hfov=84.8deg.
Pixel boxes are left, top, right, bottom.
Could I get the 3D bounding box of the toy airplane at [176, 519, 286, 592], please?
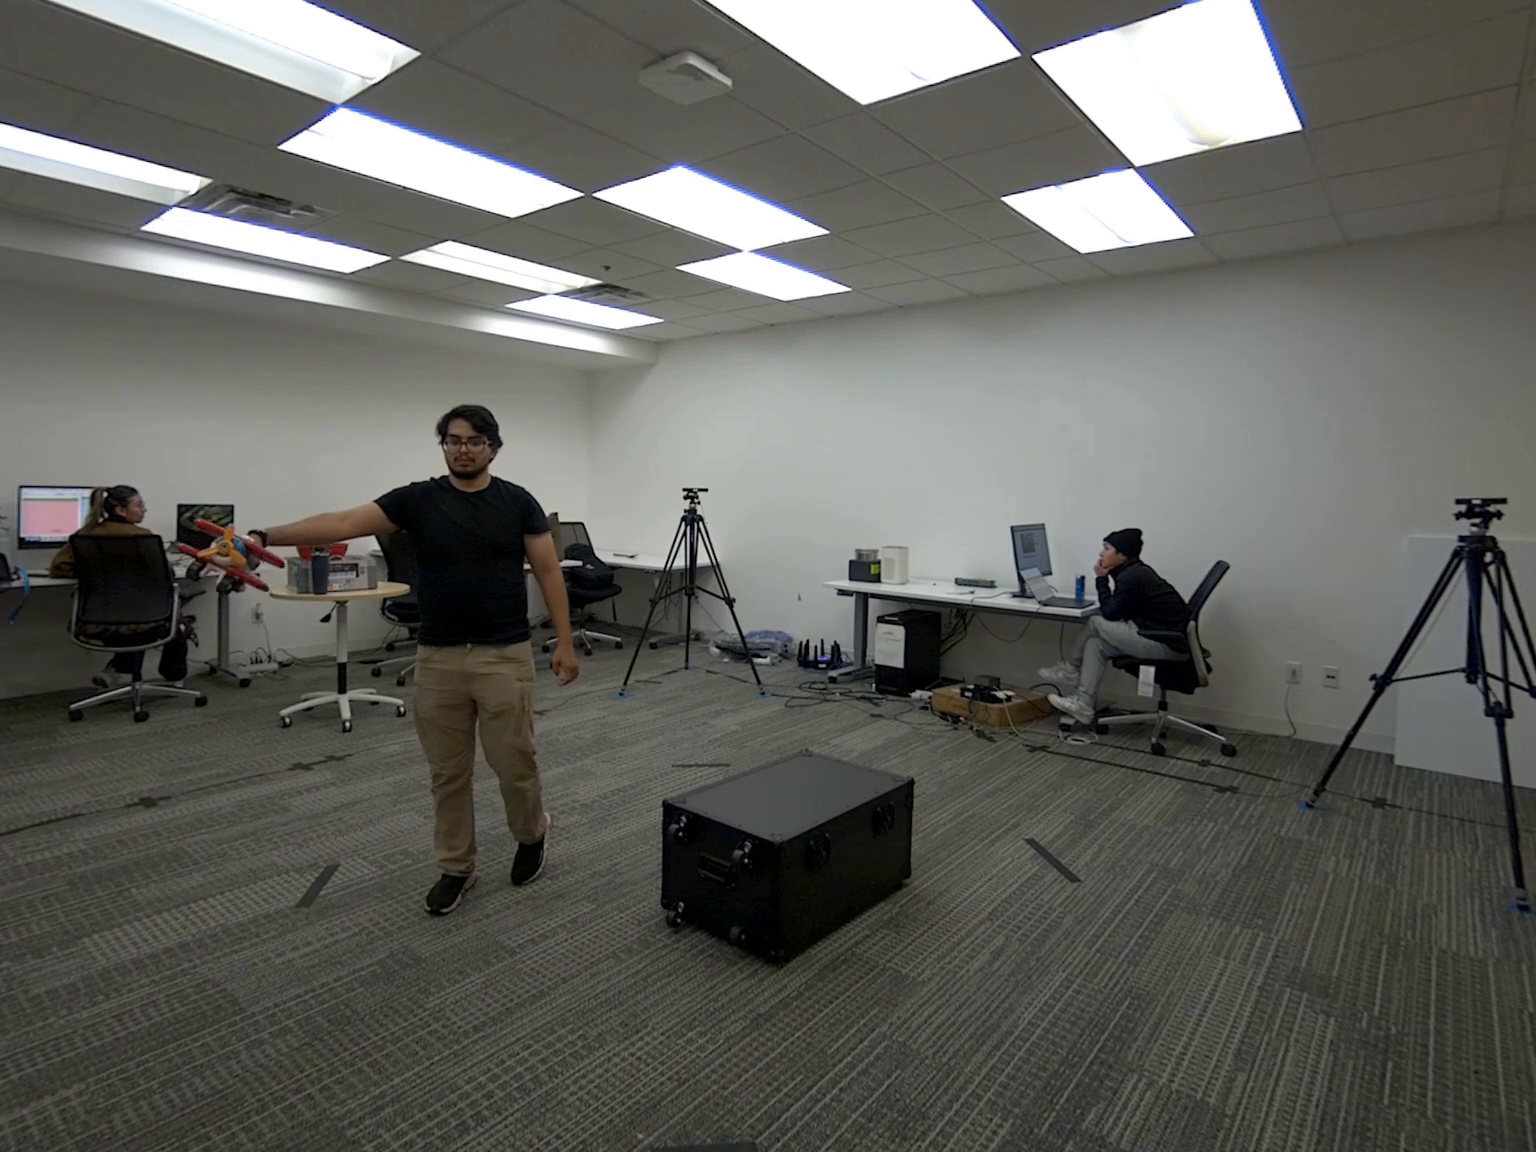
[{"bbox_3d":[-1.512,-0.047,2.353,0.241,0.157,0.269,32,-8,-37],"label":"toy airplane"}]
